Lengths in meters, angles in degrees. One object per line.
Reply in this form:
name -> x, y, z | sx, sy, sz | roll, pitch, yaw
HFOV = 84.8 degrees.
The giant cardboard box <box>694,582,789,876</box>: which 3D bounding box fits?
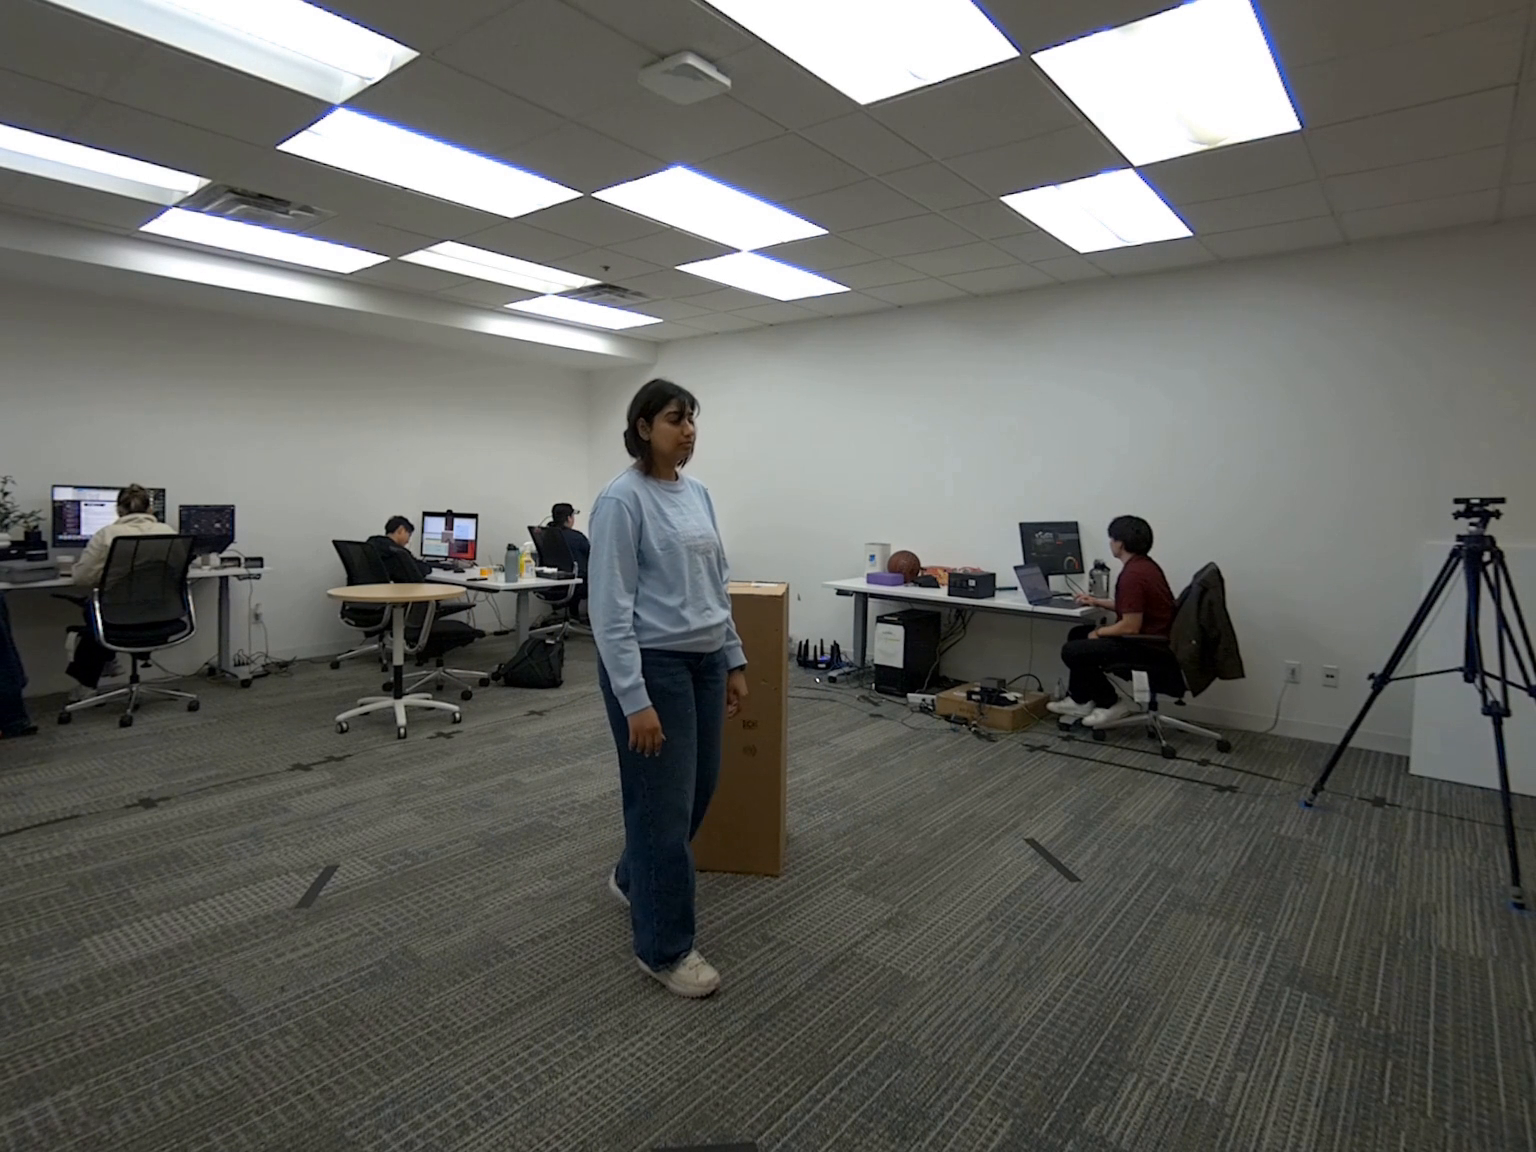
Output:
giant cardboard box -> -0.222, 0.542, 3.279 | 0.582, 1.023, 0.424 | 1, 3, 6
